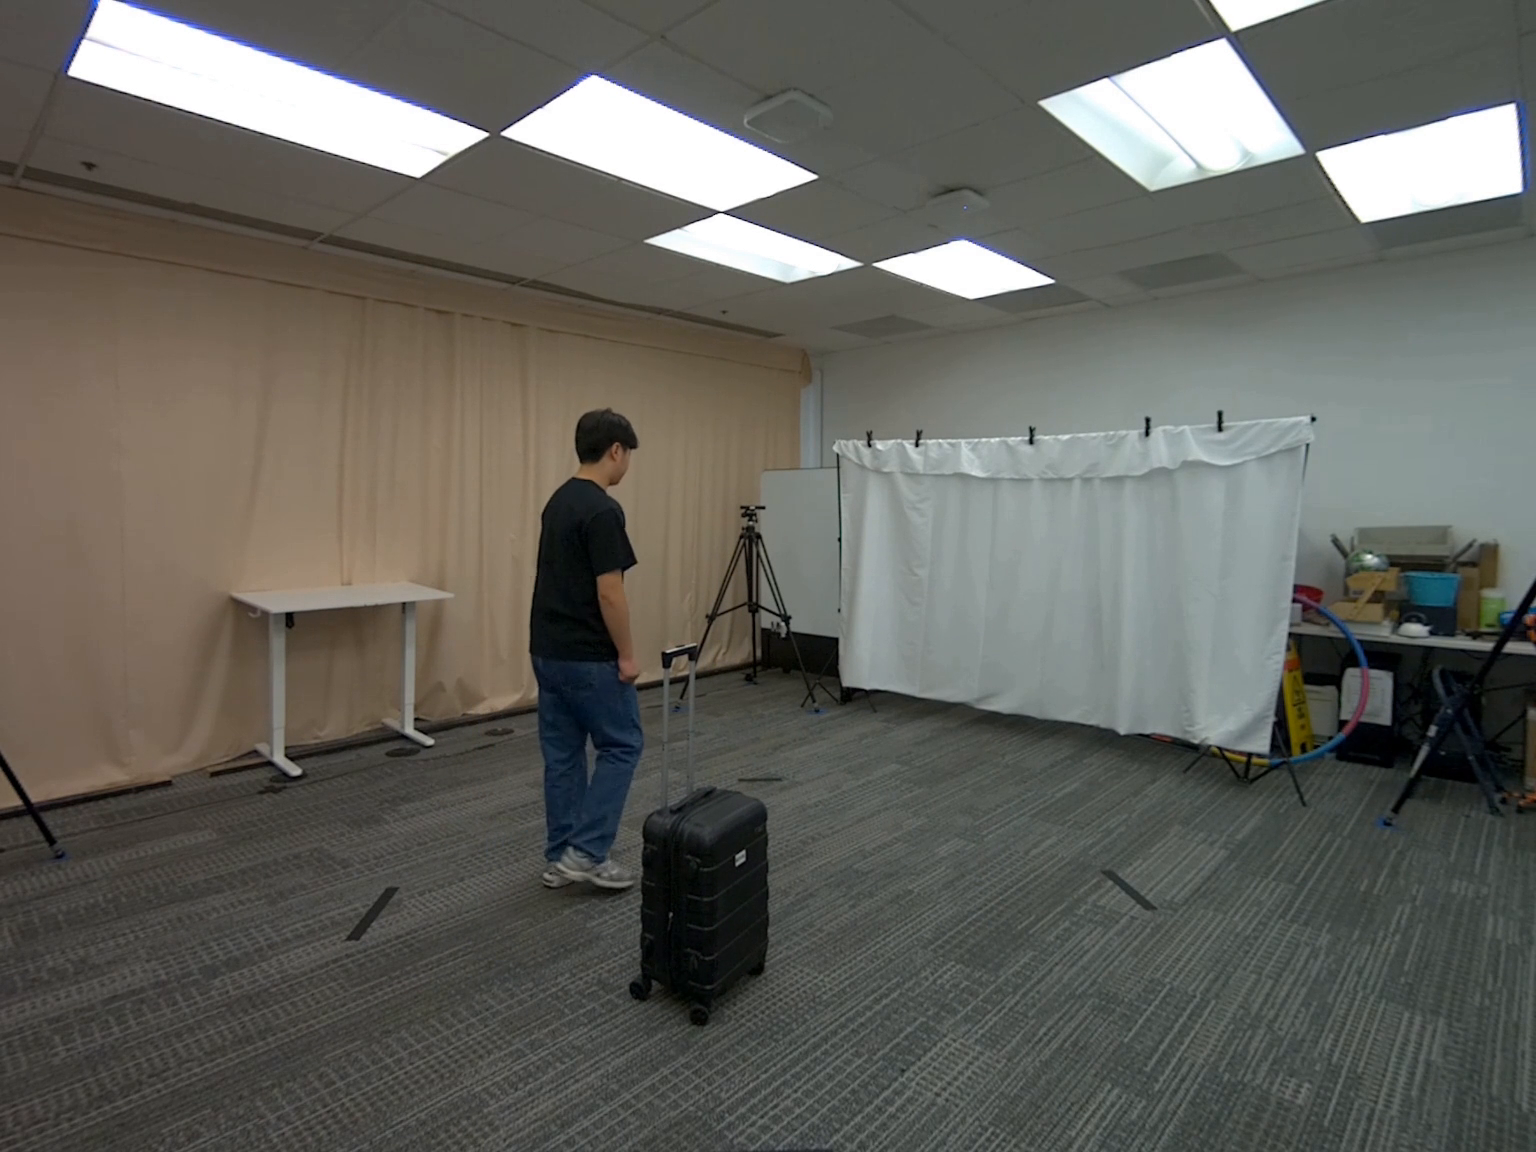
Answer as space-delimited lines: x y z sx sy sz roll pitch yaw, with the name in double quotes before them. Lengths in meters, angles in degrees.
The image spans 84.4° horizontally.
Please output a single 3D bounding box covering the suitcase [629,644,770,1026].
"suitcase" -0.165 0.718 2.420 0.265 0.976 0.373 6 6 31
